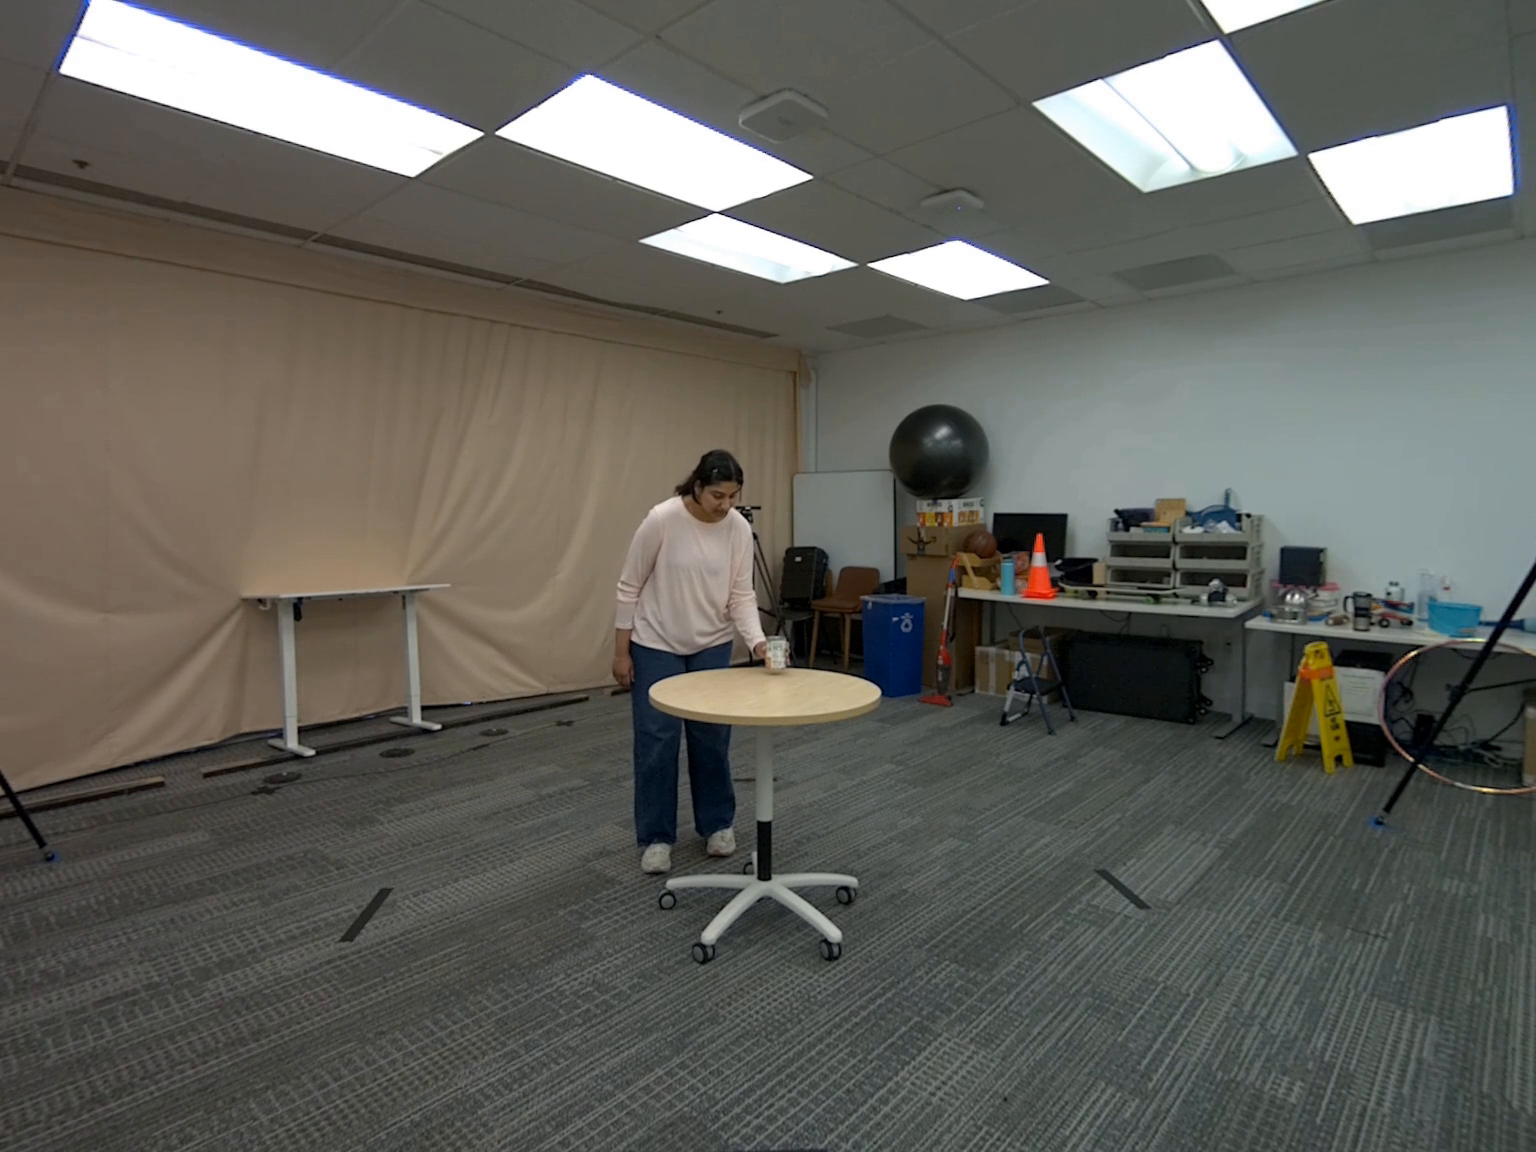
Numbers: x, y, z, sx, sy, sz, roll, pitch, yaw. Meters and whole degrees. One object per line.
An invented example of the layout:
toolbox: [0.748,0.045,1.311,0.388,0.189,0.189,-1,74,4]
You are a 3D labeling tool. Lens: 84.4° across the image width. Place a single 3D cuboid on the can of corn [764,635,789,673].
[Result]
can of corn: [0.032,0.278,3.051,0.074,0.111,0.074,-1,4,-2]
